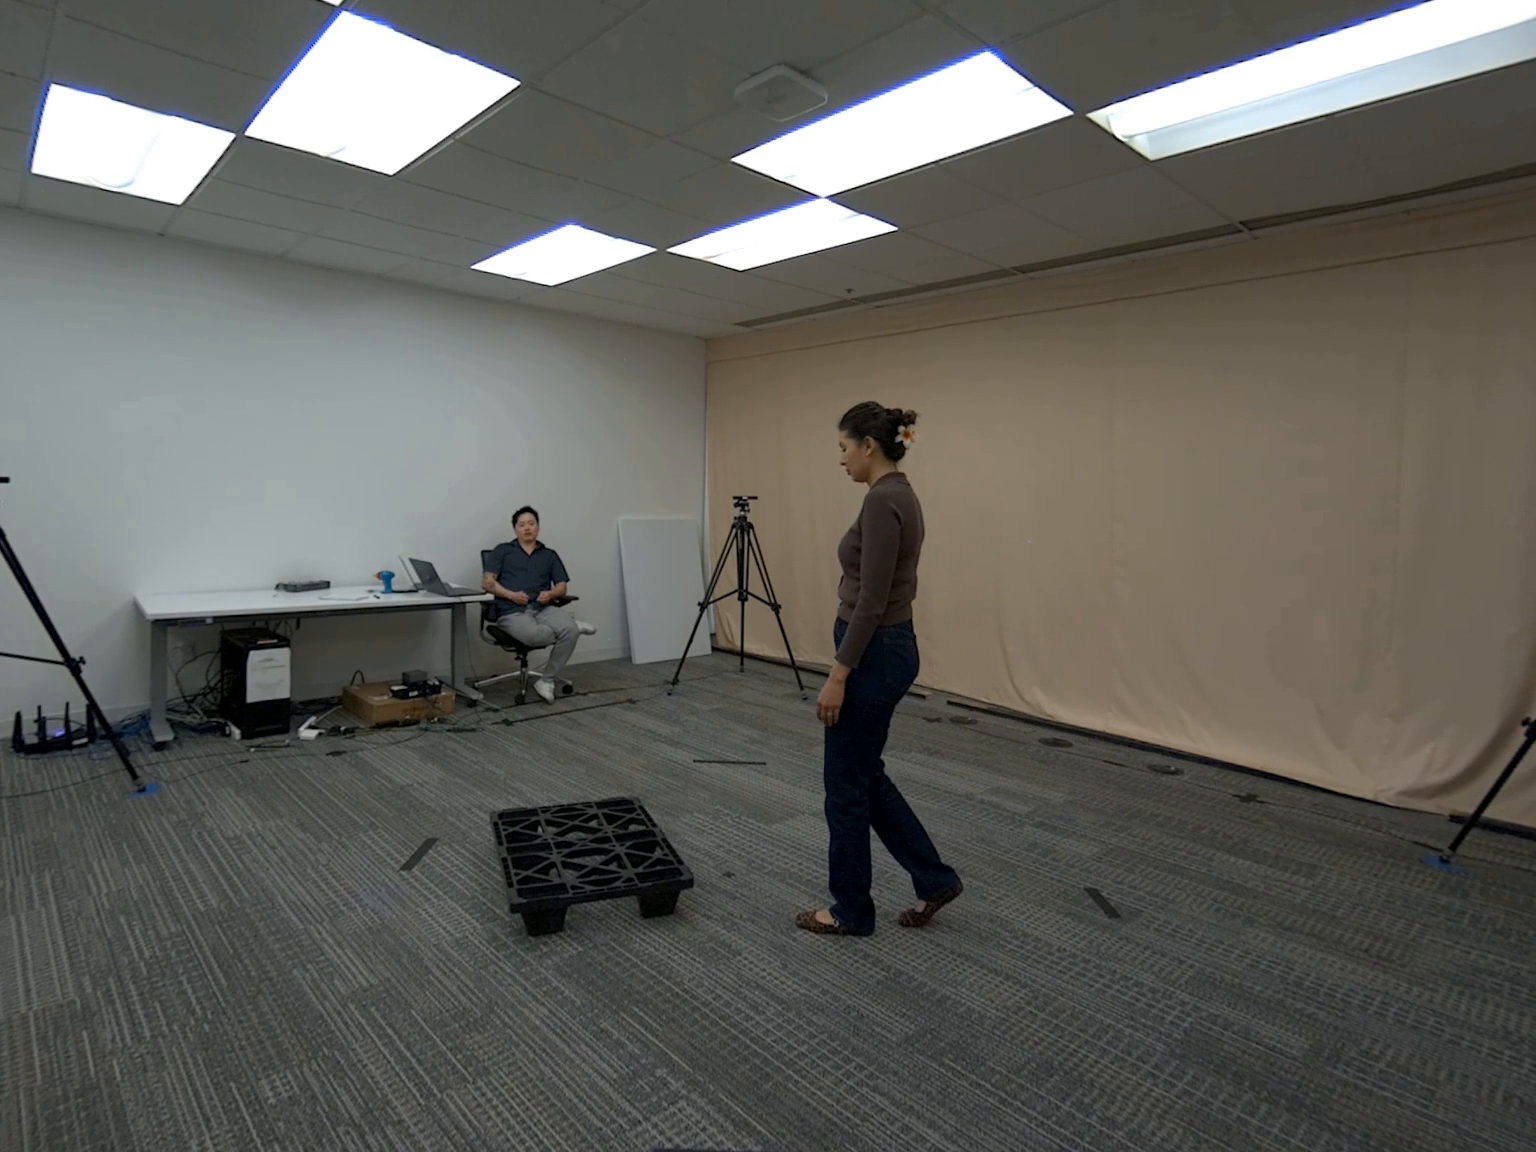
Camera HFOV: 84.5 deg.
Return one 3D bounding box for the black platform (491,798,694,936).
[{"bbox_3d":[-0.674,1.030,3.060,0.595,0.143,0.821,0,6,-22],"label":"black platform"}]
